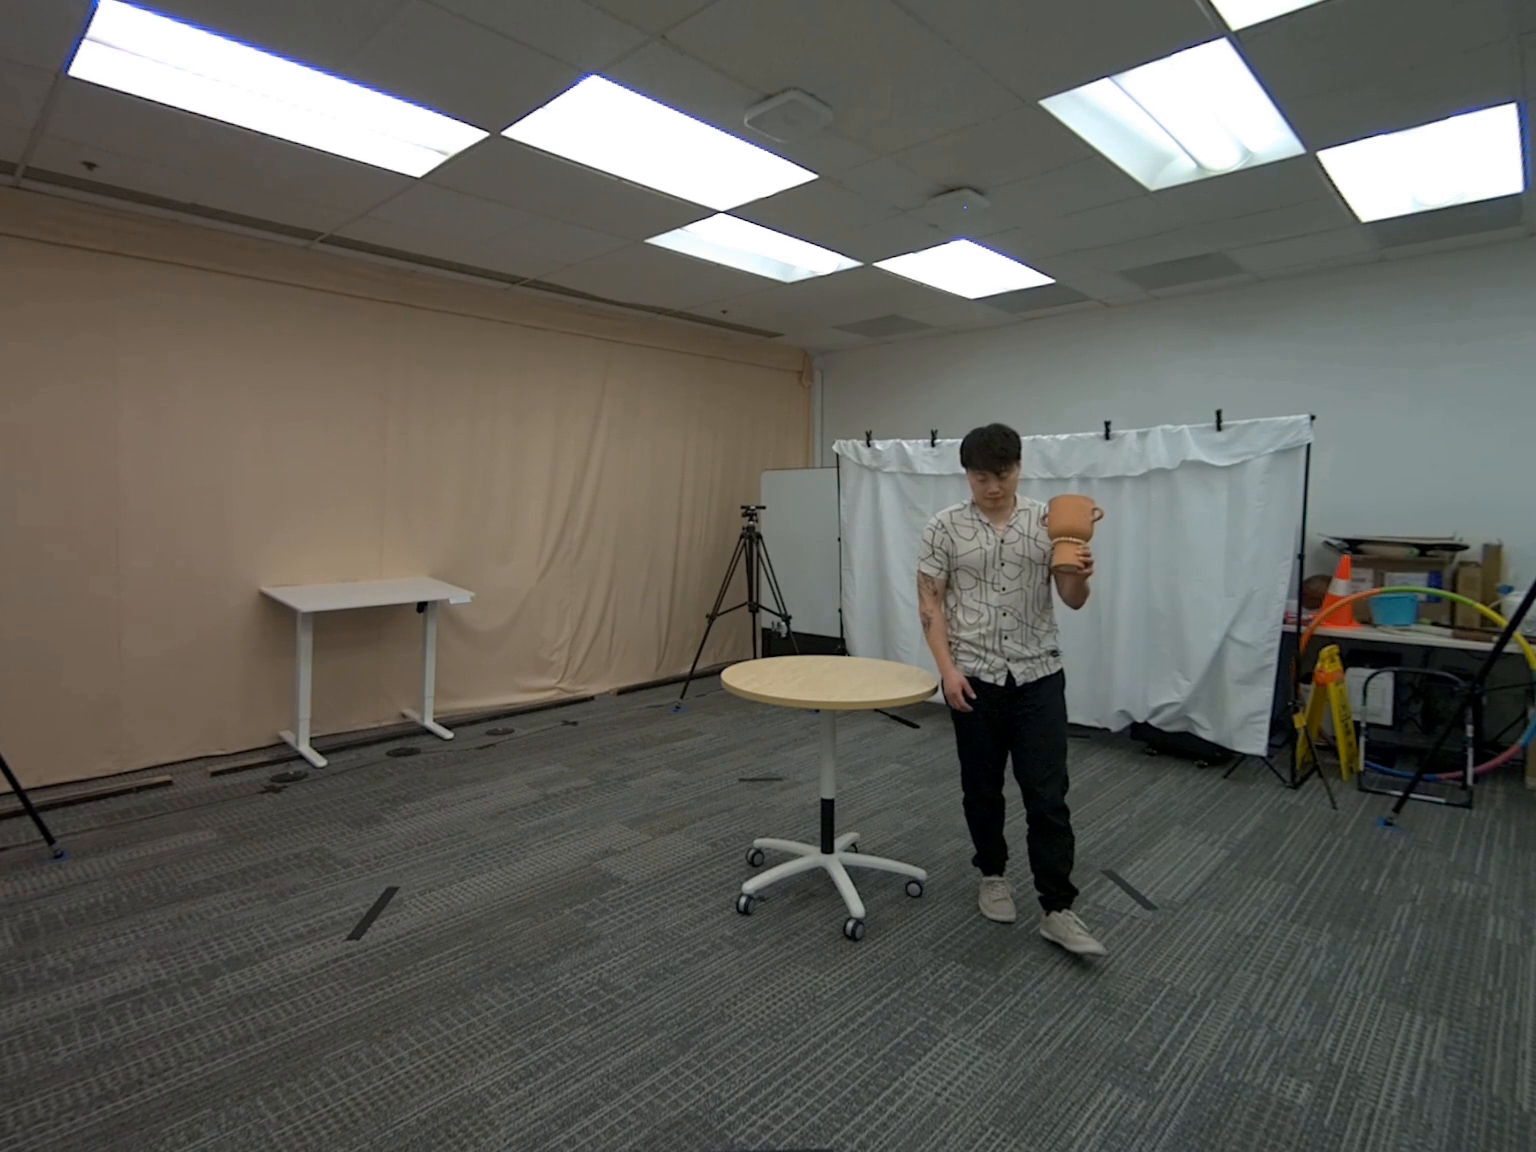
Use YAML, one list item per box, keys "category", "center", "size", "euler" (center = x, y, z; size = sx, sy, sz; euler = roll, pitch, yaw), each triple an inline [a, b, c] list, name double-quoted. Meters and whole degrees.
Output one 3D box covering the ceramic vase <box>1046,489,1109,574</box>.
- category: "ceramic vase"
  center: [0.923, -0.124, 2.566]
  size: [0.135, 0.221, 0.157]
  euler: [10, -16, -1]
